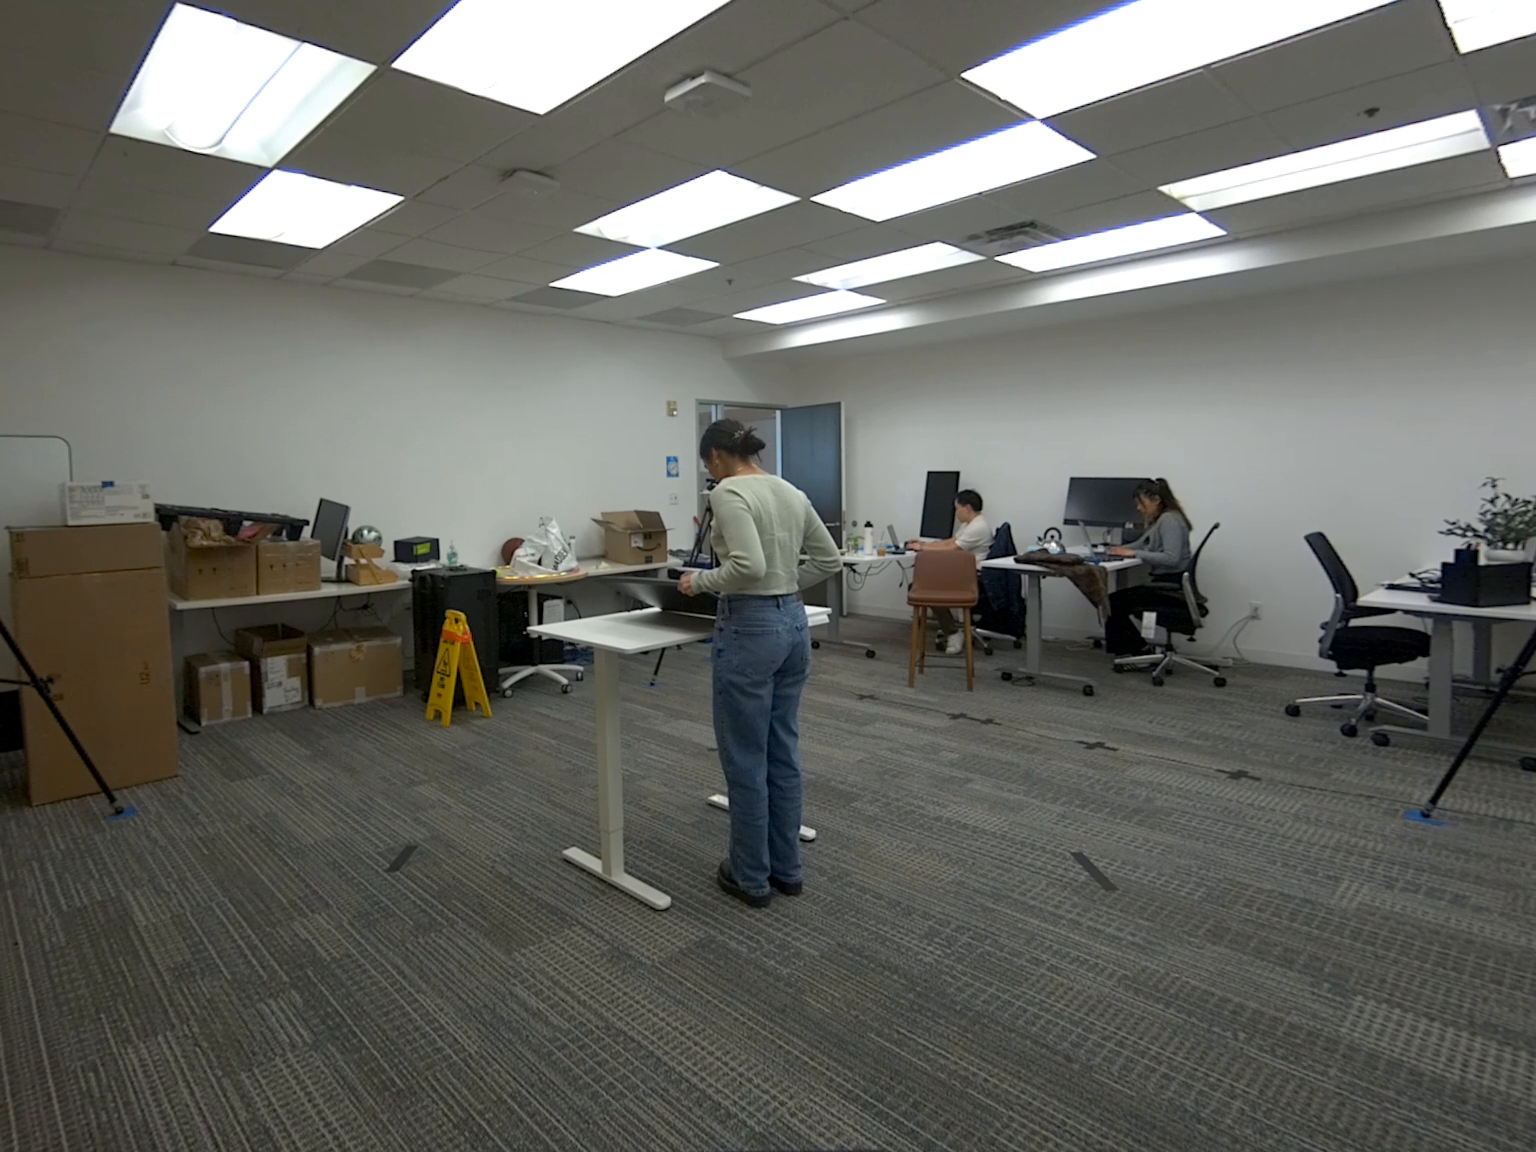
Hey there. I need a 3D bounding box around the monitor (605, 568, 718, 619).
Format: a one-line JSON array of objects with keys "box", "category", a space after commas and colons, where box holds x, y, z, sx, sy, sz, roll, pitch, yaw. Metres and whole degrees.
[{"box": [-0.263, 0.051, 3.178, 0.507, 0.188, 0.554, 1, -3, -43], "category": "monitor"}]
